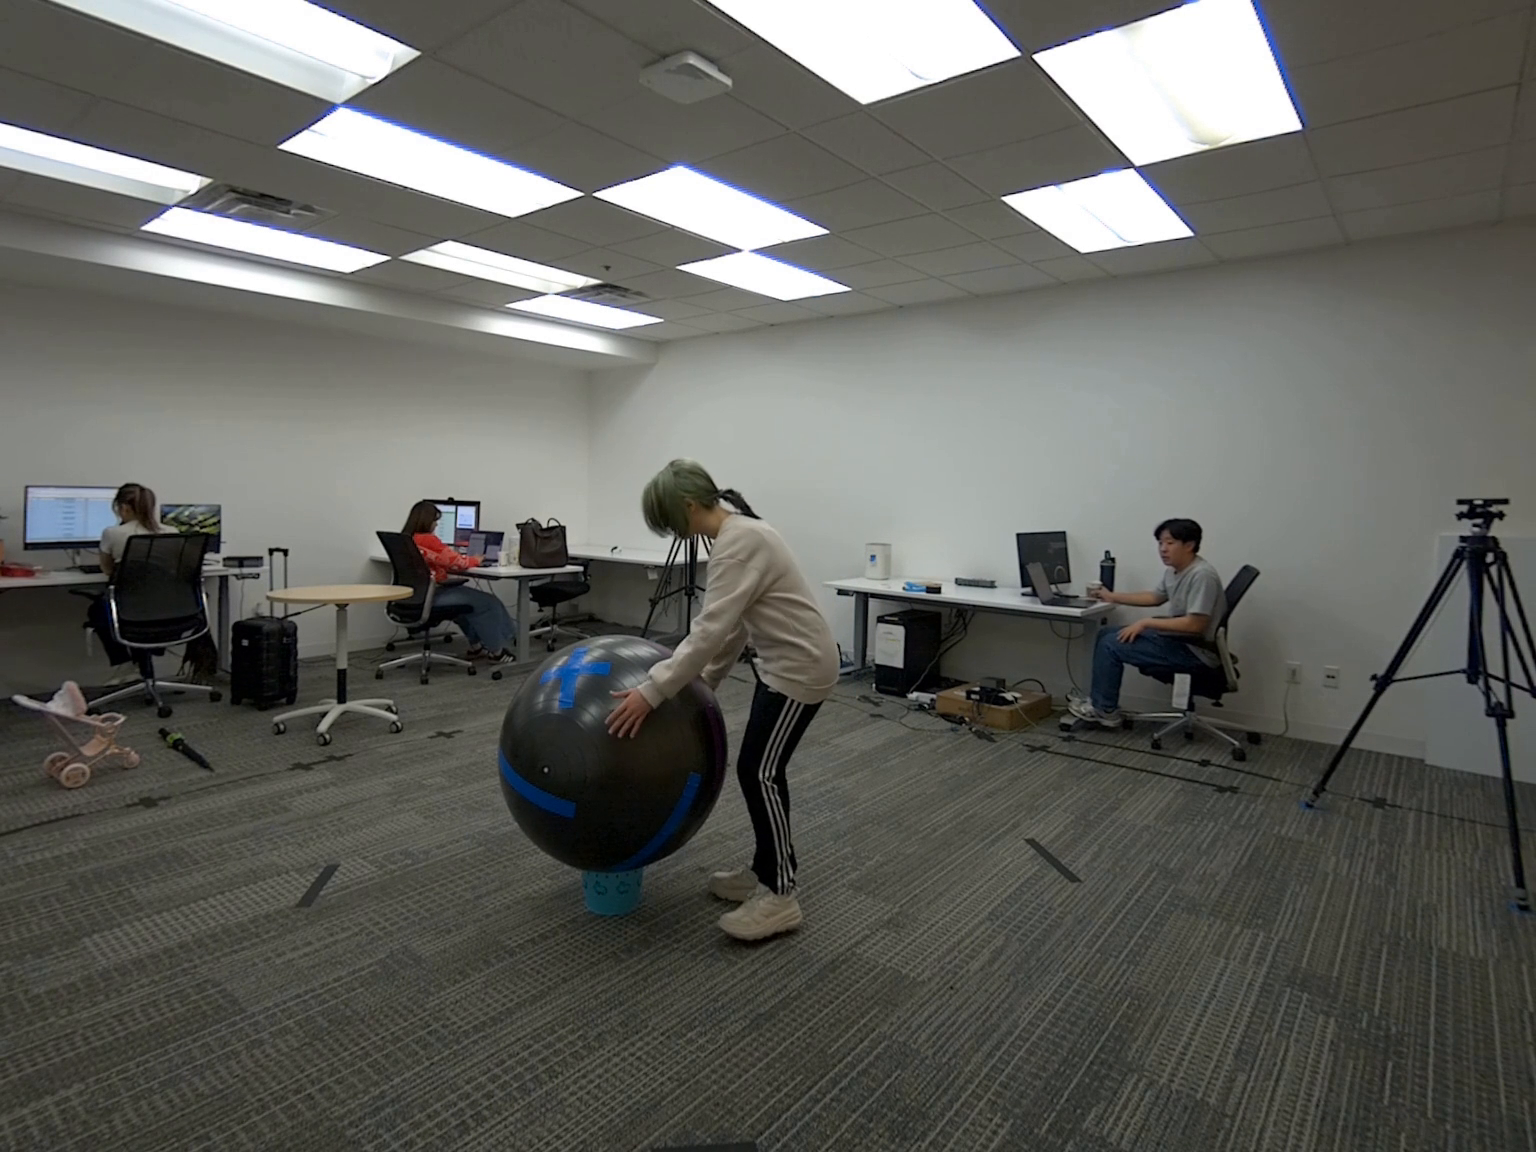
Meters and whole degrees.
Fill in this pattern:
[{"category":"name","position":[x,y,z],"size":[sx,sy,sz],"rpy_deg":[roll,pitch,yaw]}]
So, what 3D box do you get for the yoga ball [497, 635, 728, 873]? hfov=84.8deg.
[{"category":"yoga ball","position":[-0.520,0.582,2.823],"size":[0.757,0.756,0.761],"rpy_deg":[1,4,-2]}]
